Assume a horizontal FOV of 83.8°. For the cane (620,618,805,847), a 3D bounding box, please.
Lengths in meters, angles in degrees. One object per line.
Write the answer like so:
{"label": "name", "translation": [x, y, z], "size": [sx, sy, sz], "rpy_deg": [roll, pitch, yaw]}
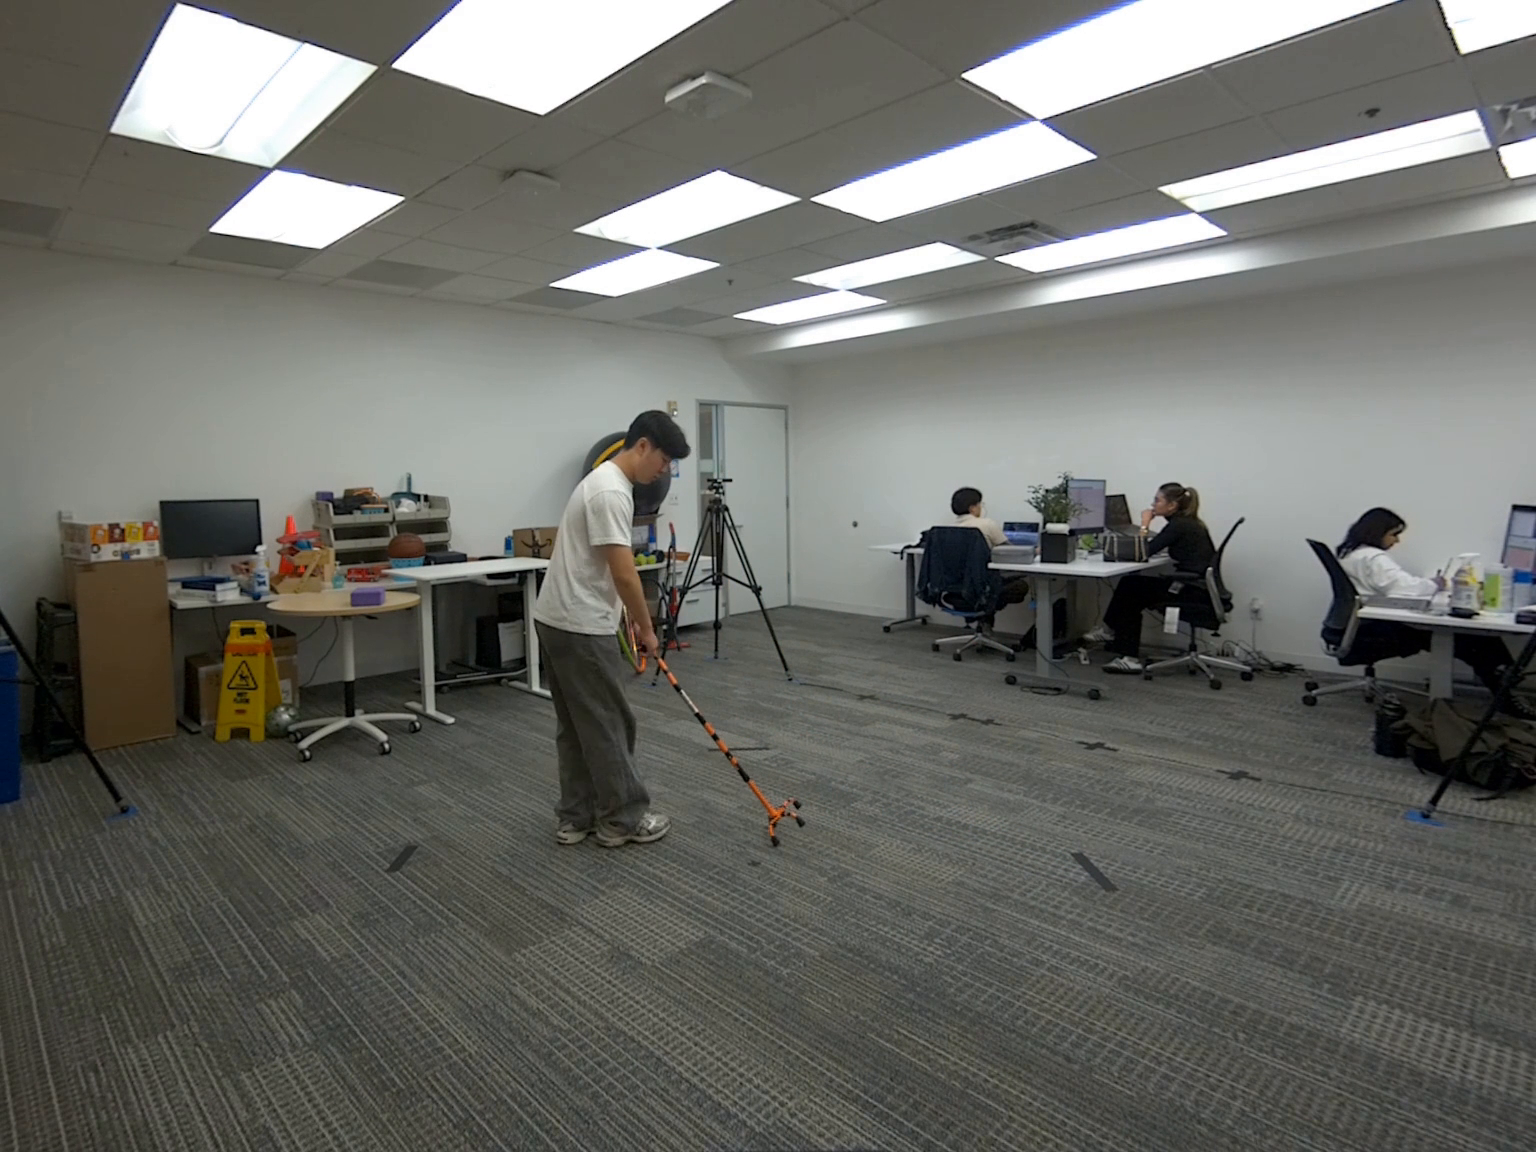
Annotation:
{"label": "cane", "translation": [-0.189, 0.615, 3.322], "size": [0.151, 0.906, 0.207], "rpy_deg": [-38, 1, 1]}
